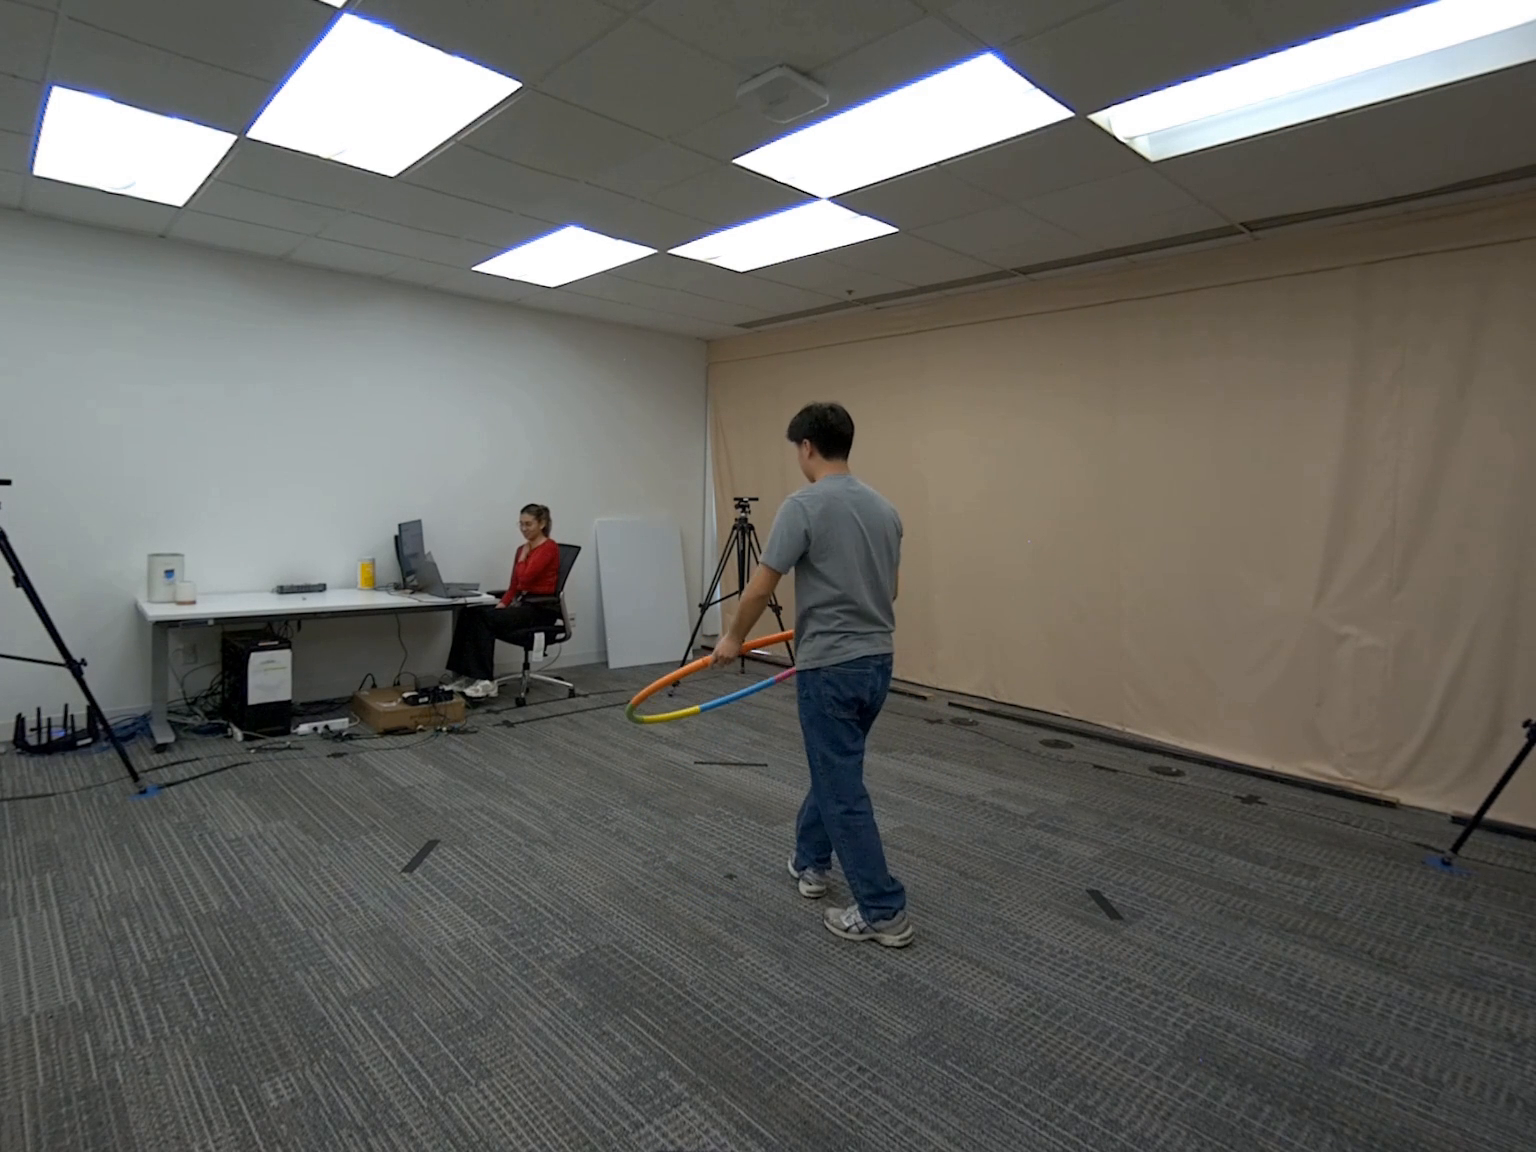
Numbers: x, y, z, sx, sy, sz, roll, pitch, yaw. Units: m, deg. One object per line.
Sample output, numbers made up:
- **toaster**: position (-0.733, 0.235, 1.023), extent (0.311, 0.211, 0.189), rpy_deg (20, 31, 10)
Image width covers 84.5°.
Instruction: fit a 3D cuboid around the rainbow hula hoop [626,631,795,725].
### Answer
- **rainbow hula hoop**: position (-0.103, 0.387, 3.328), extent (0.975, 0.036, 0.966), rpy_deg (-18, -16, -7)
